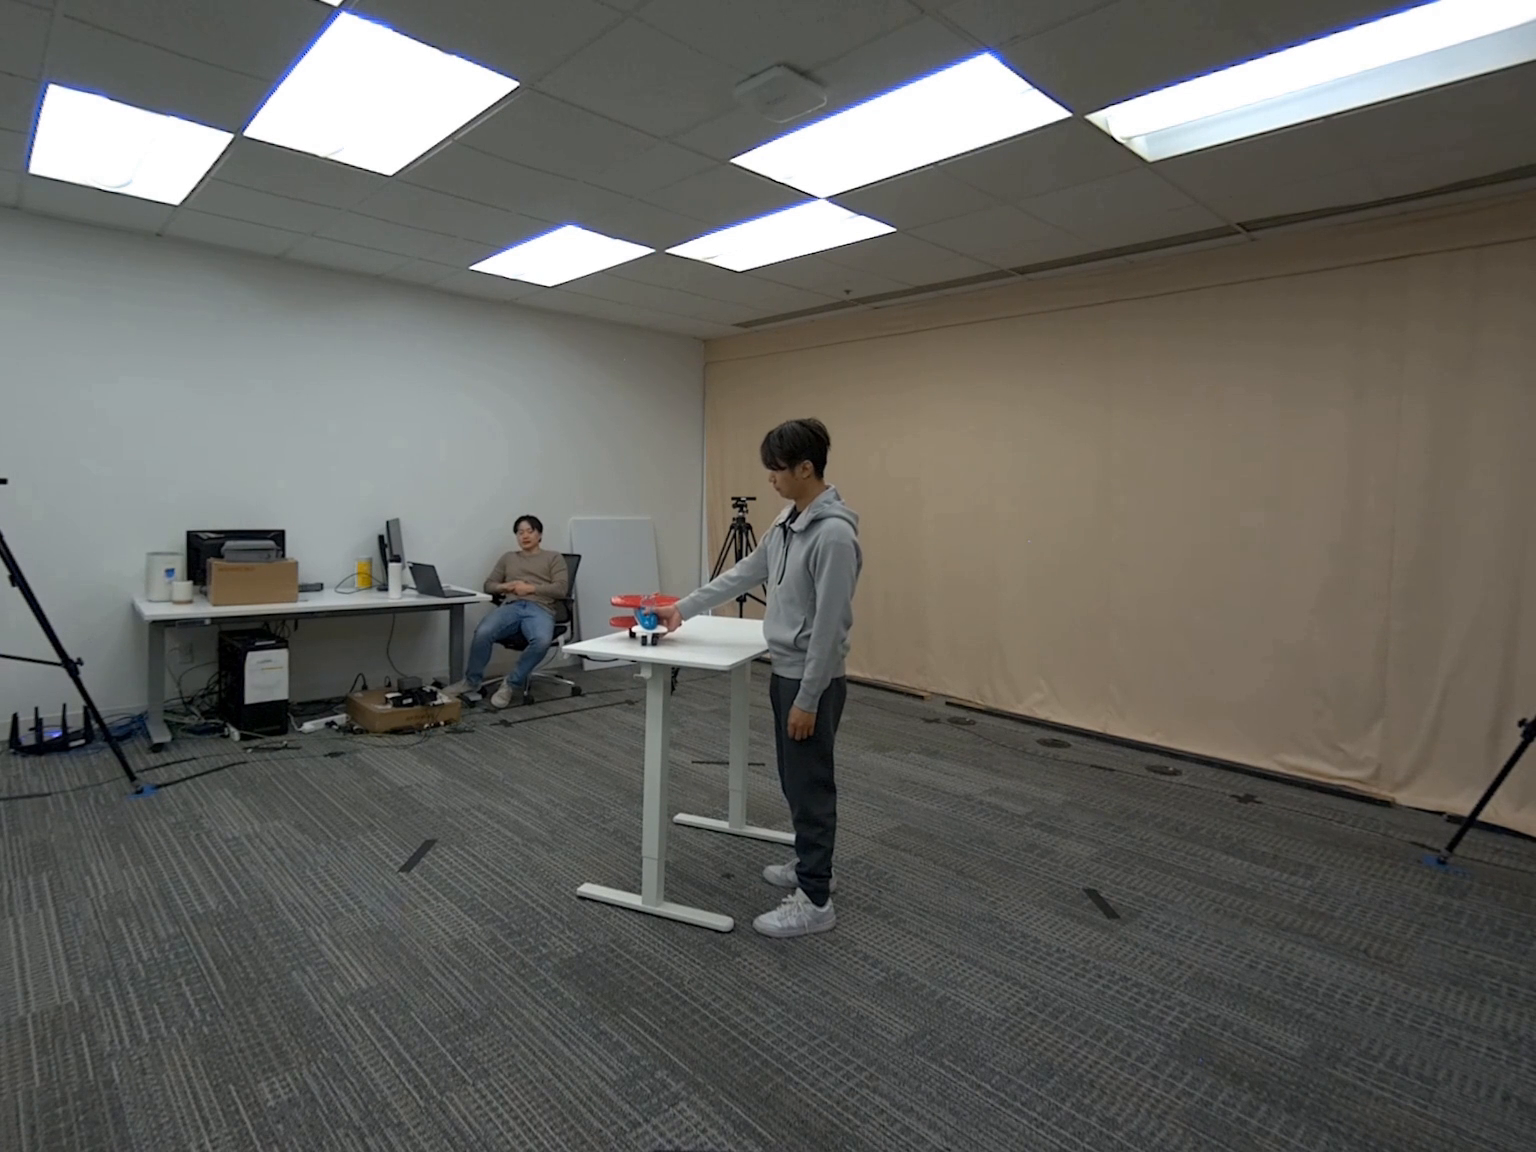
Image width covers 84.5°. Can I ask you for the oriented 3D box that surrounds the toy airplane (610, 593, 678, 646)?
[{"bbox_3d":[-0.416,0.153,2.958,0.245,0.156,0.265,-2,5,-37],"label":"toy airplane"}]
